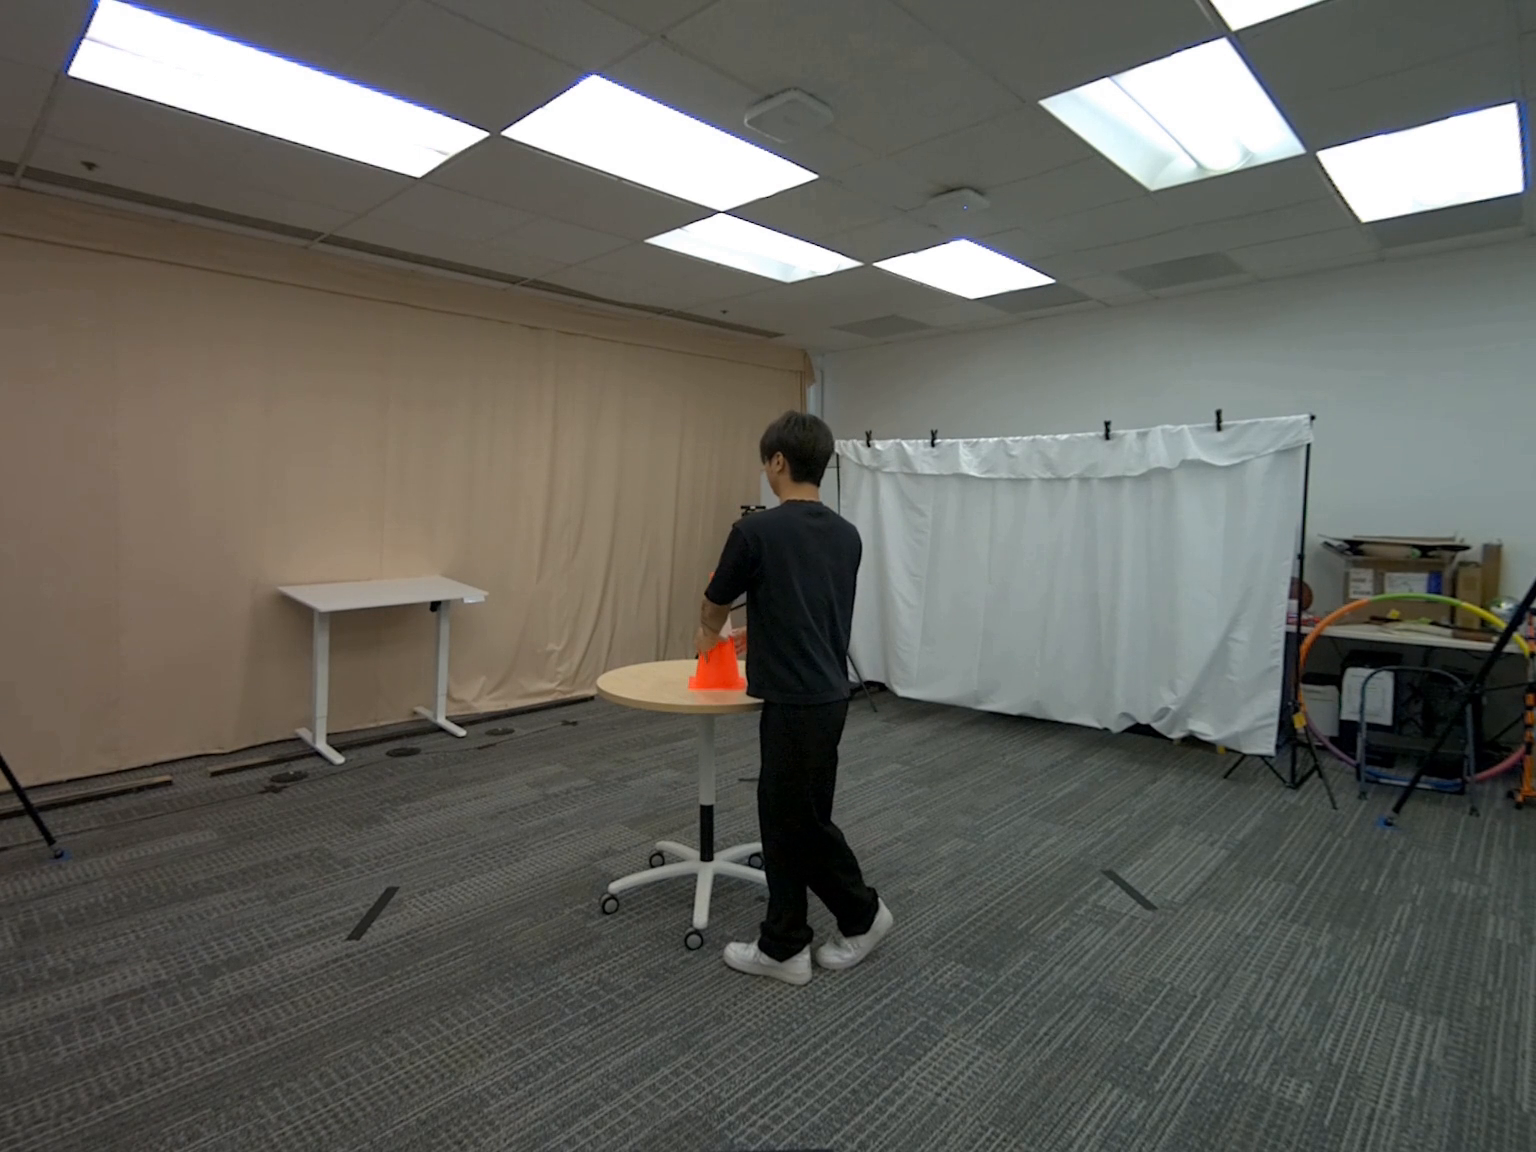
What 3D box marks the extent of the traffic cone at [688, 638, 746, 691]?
[{"bbox_3d":[-0.173,0.184,2.872,0.205,0.383,0.204,0,4,-1],"label":"traffic cone"}]
